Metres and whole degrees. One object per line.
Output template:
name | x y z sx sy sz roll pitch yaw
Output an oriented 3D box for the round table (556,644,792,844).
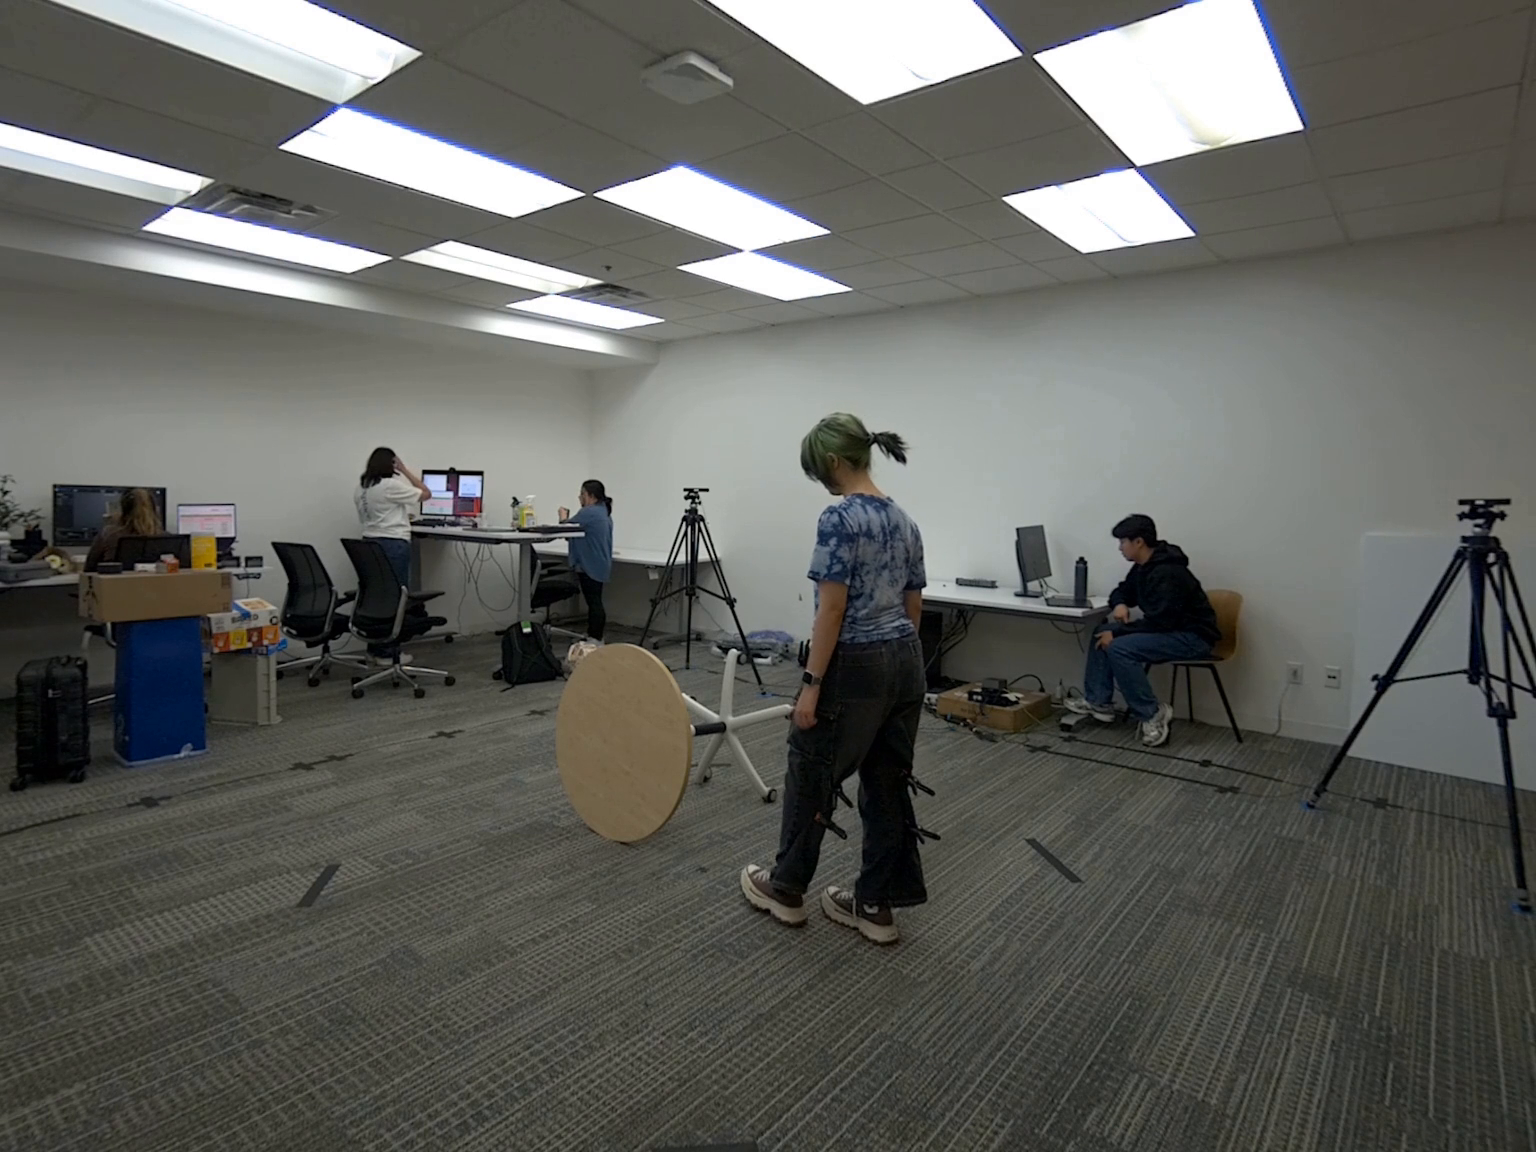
round table | -0.381 0.669 3.683 0.789 0.765 0.767 4 -1 39
